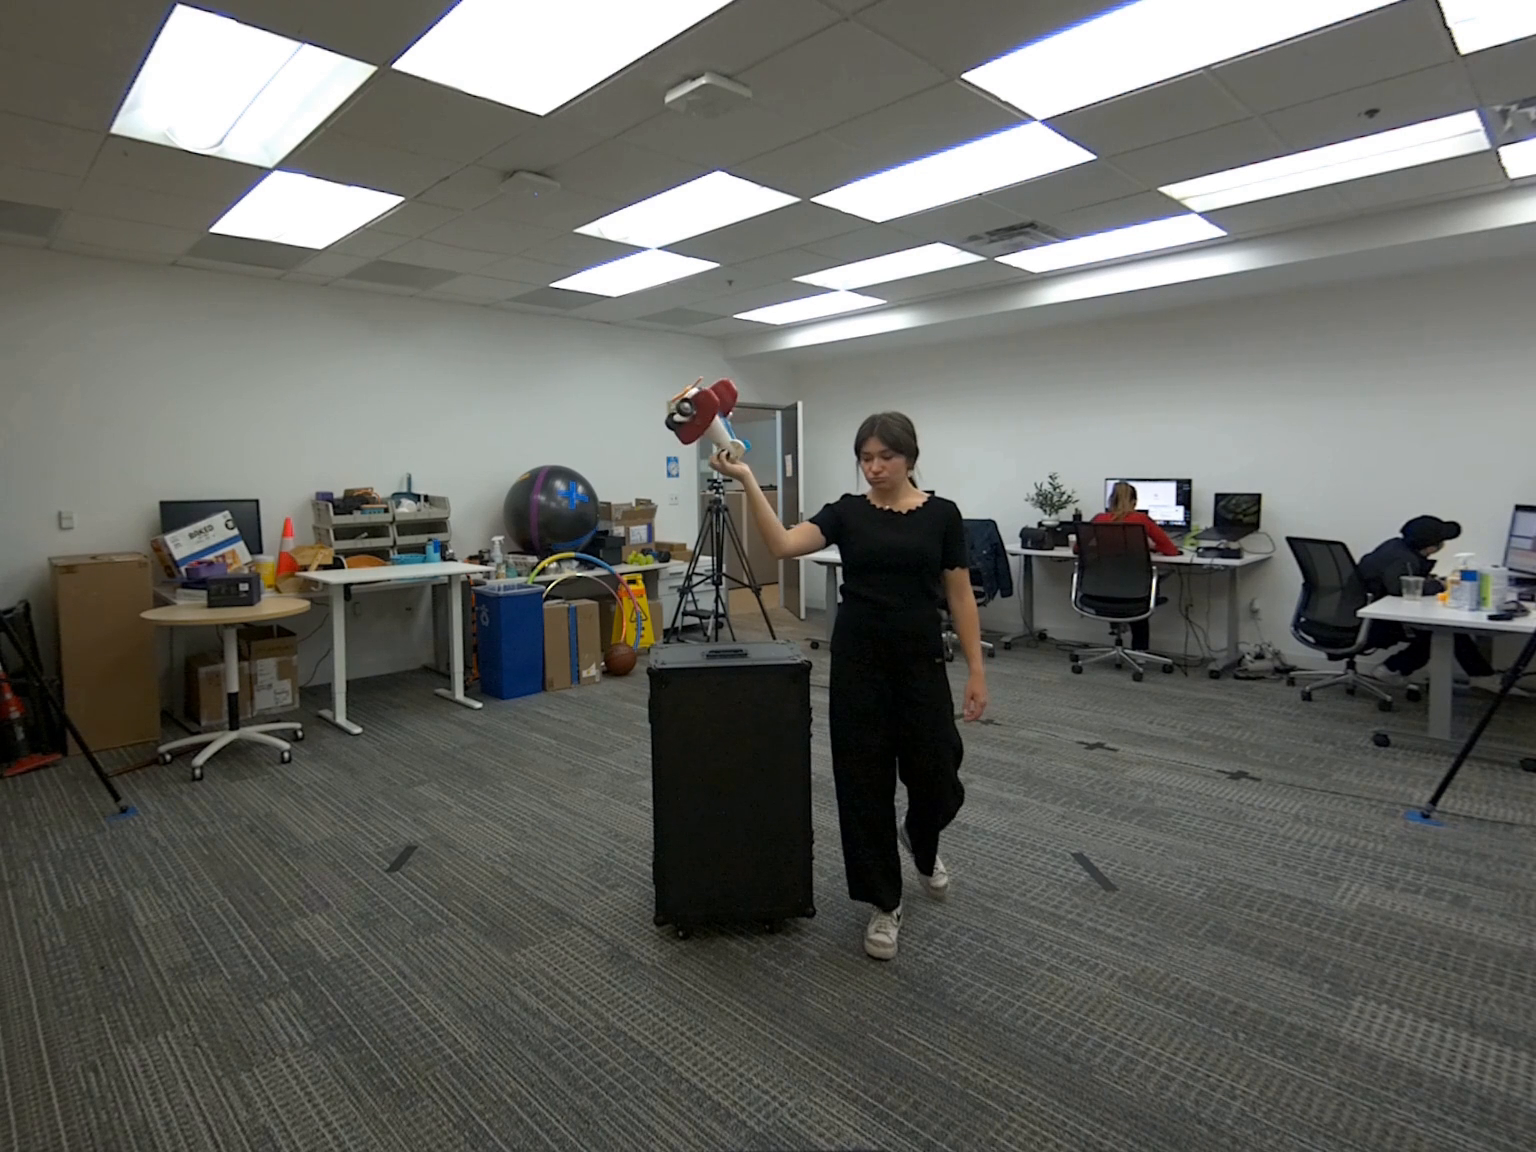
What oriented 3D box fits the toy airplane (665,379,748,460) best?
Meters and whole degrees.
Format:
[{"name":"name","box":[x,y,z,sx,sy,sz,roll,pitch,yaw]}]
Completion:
[{"name":"toy airplane","box":[-0.169,-0.442,2.540,0.258,0.251,0.157,1,41,44]}]
